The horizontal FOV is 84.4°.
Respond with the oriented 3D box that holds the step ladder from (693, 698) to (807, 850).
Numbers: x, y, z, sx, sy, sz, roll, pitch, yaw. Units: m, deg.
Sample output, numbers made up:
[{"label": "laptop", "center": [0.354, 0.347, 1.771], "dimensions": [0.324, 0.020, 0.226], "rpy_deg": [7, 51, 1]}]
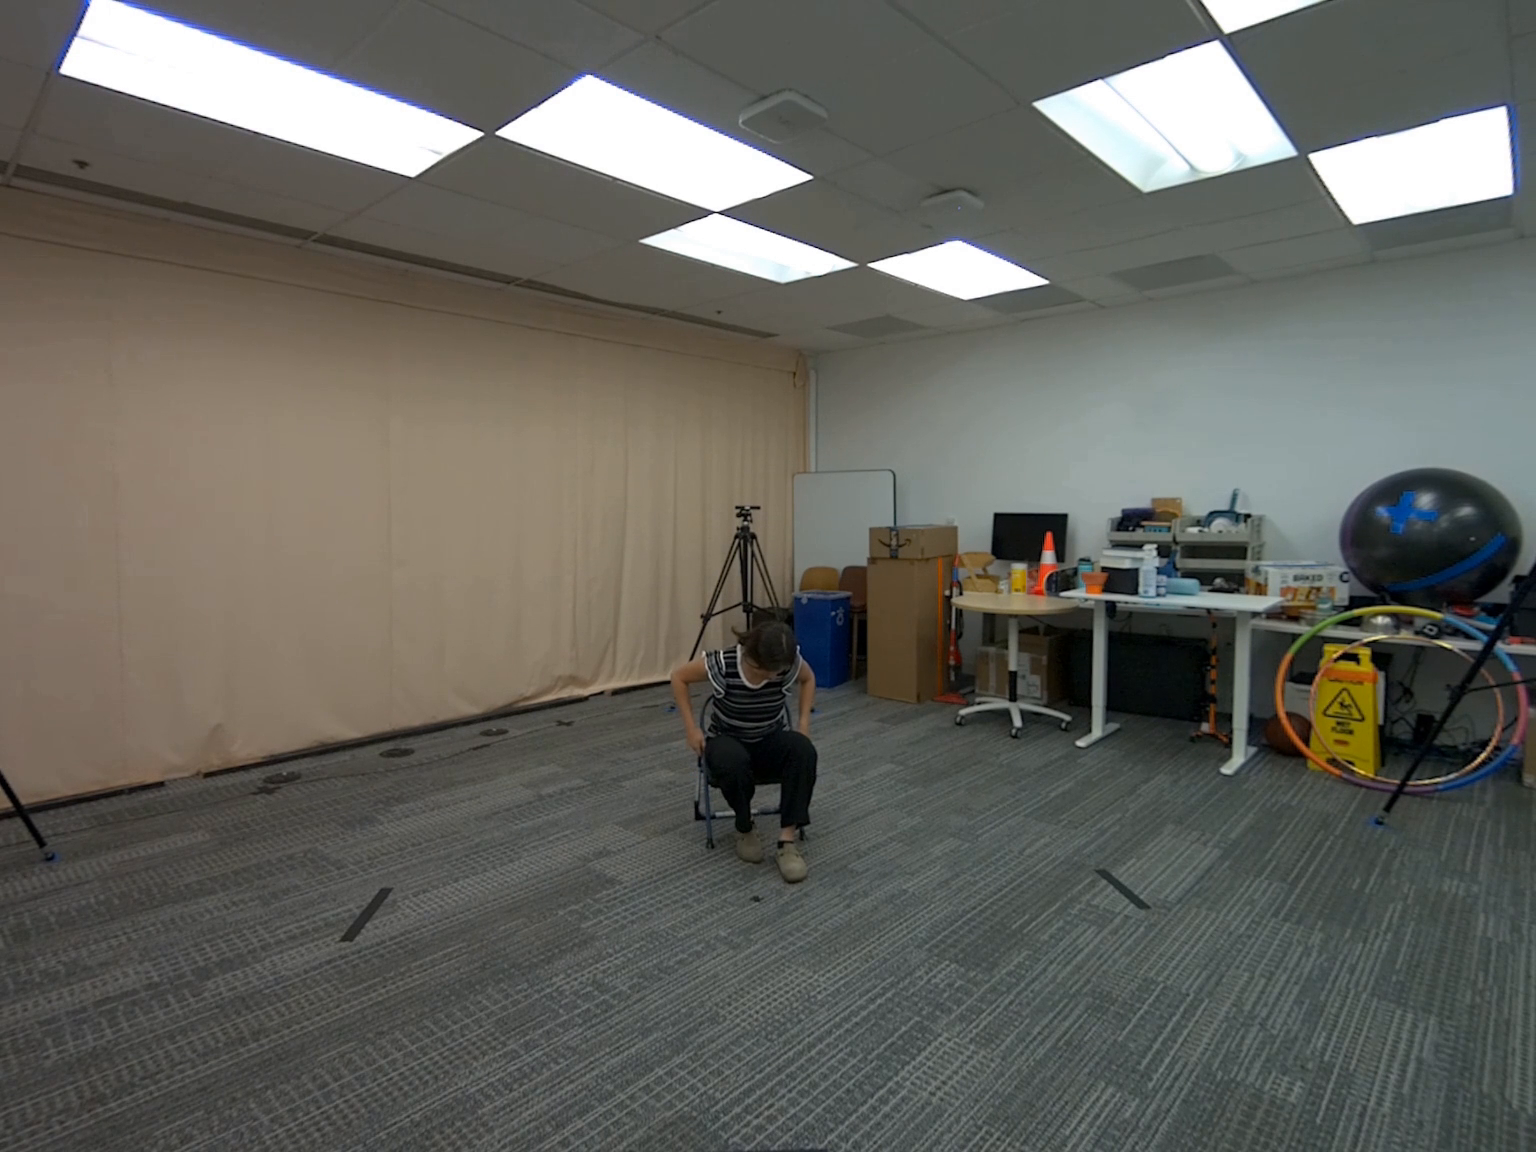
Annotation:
[{"label": "step ladder", "center": [-0.083, 0.801, 3.621], "dimensions": [0.424, 0.605, 0.355], "rpy_deg": [0, 3, -14]}]
